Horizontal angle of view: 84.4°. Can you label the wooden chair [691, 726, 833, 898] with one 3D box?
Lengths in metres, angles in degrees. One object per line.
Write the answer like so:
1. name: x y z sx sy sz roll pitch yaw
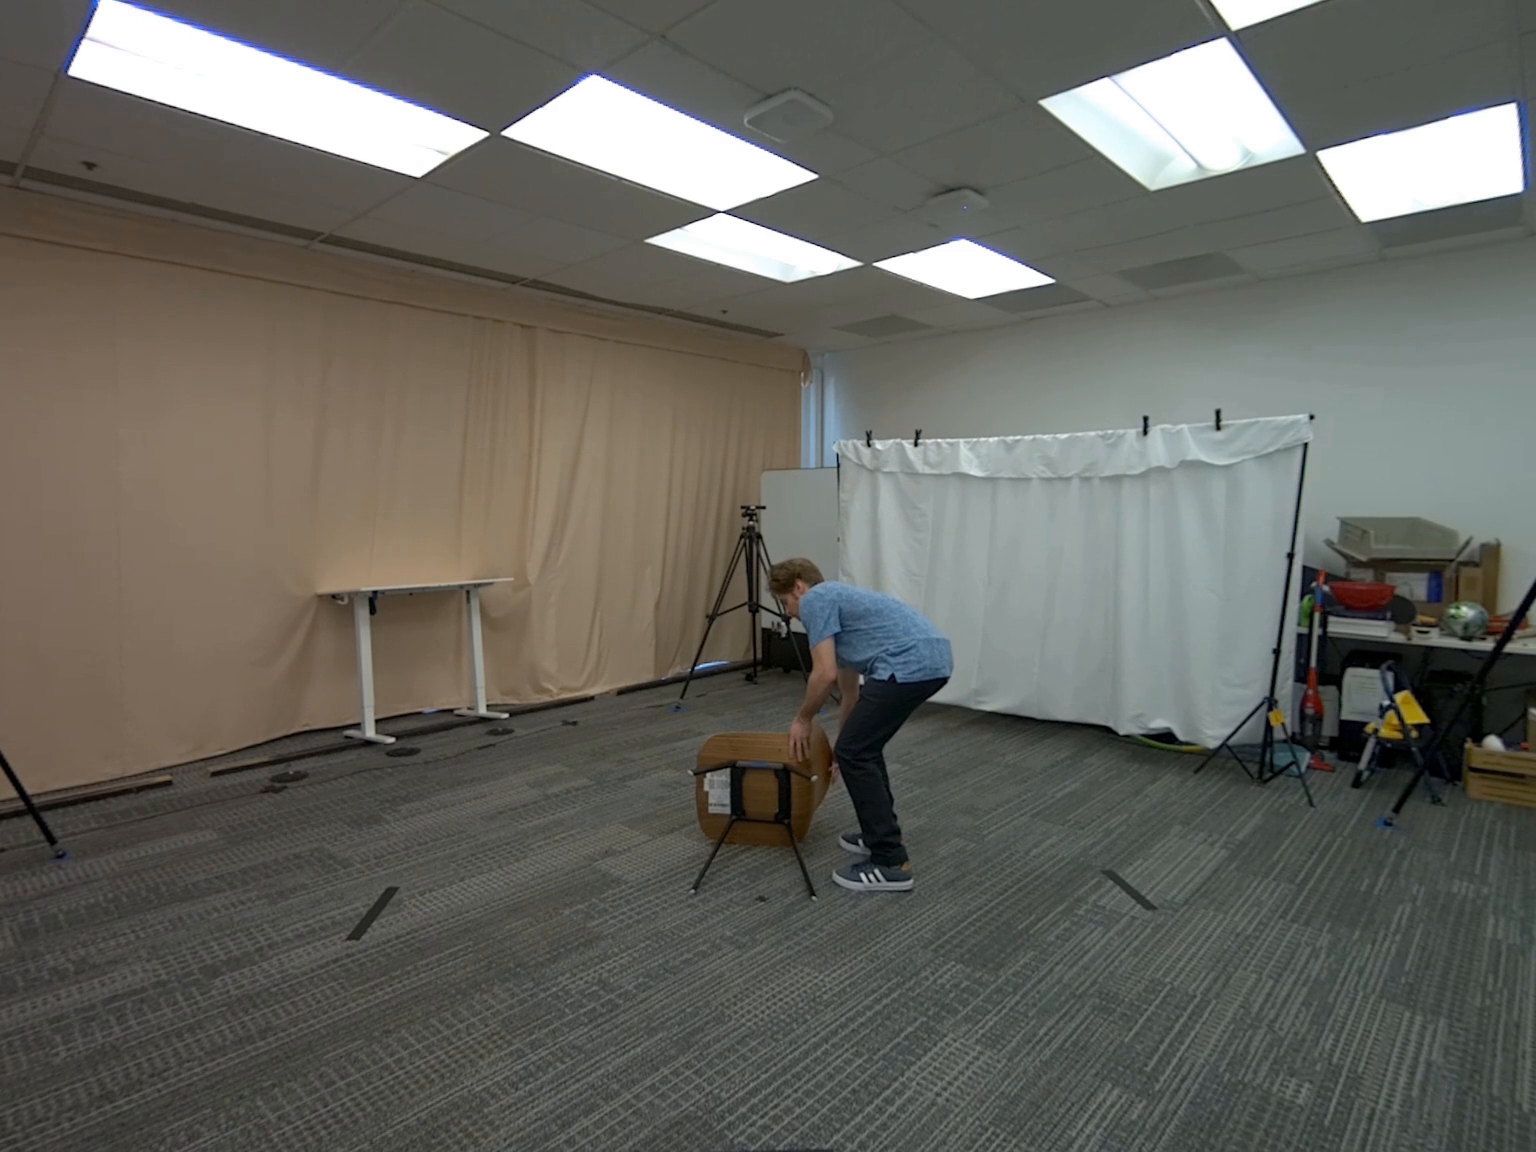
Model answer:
1. wooden chair: -0.025 0.880 3.396 0.529 0.477 0.870 -1 5 9
